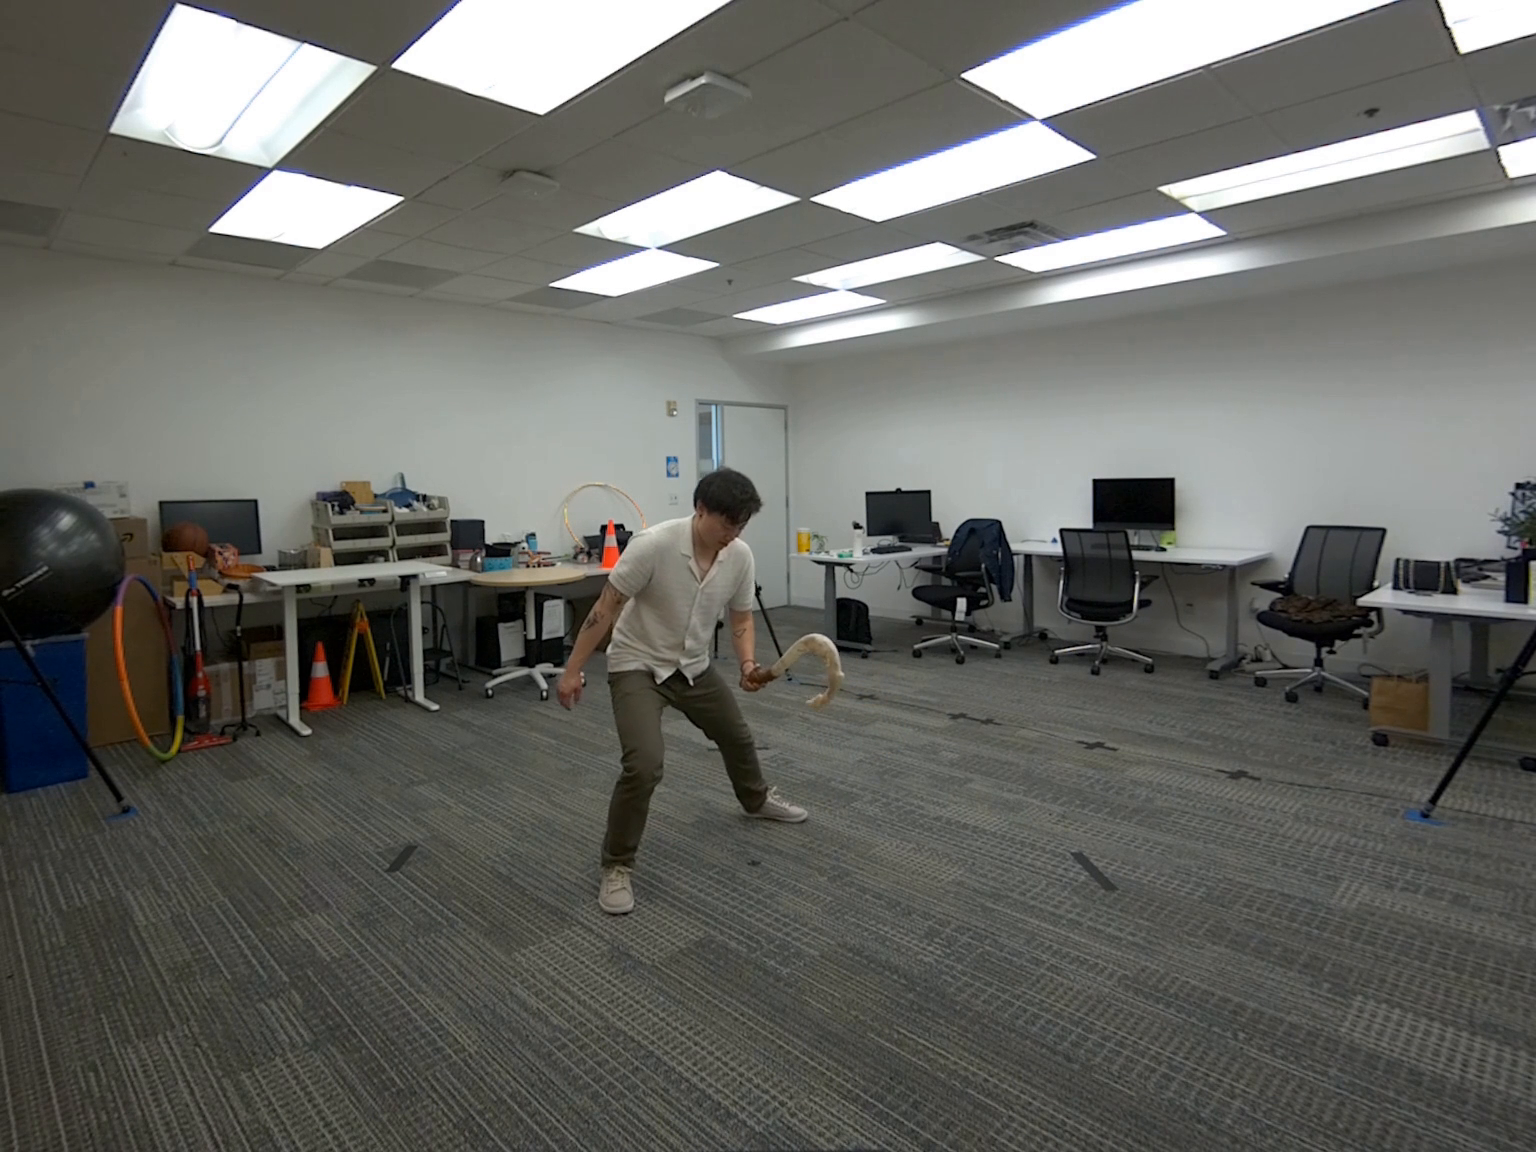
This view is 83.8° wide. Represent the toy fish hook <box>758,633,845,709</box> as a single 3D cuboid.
[{"bbox_3d":[0.071,0.351,2.770,0.047,0.229,0.511,2,-21,-36],"label":"toy fish hook"}]
